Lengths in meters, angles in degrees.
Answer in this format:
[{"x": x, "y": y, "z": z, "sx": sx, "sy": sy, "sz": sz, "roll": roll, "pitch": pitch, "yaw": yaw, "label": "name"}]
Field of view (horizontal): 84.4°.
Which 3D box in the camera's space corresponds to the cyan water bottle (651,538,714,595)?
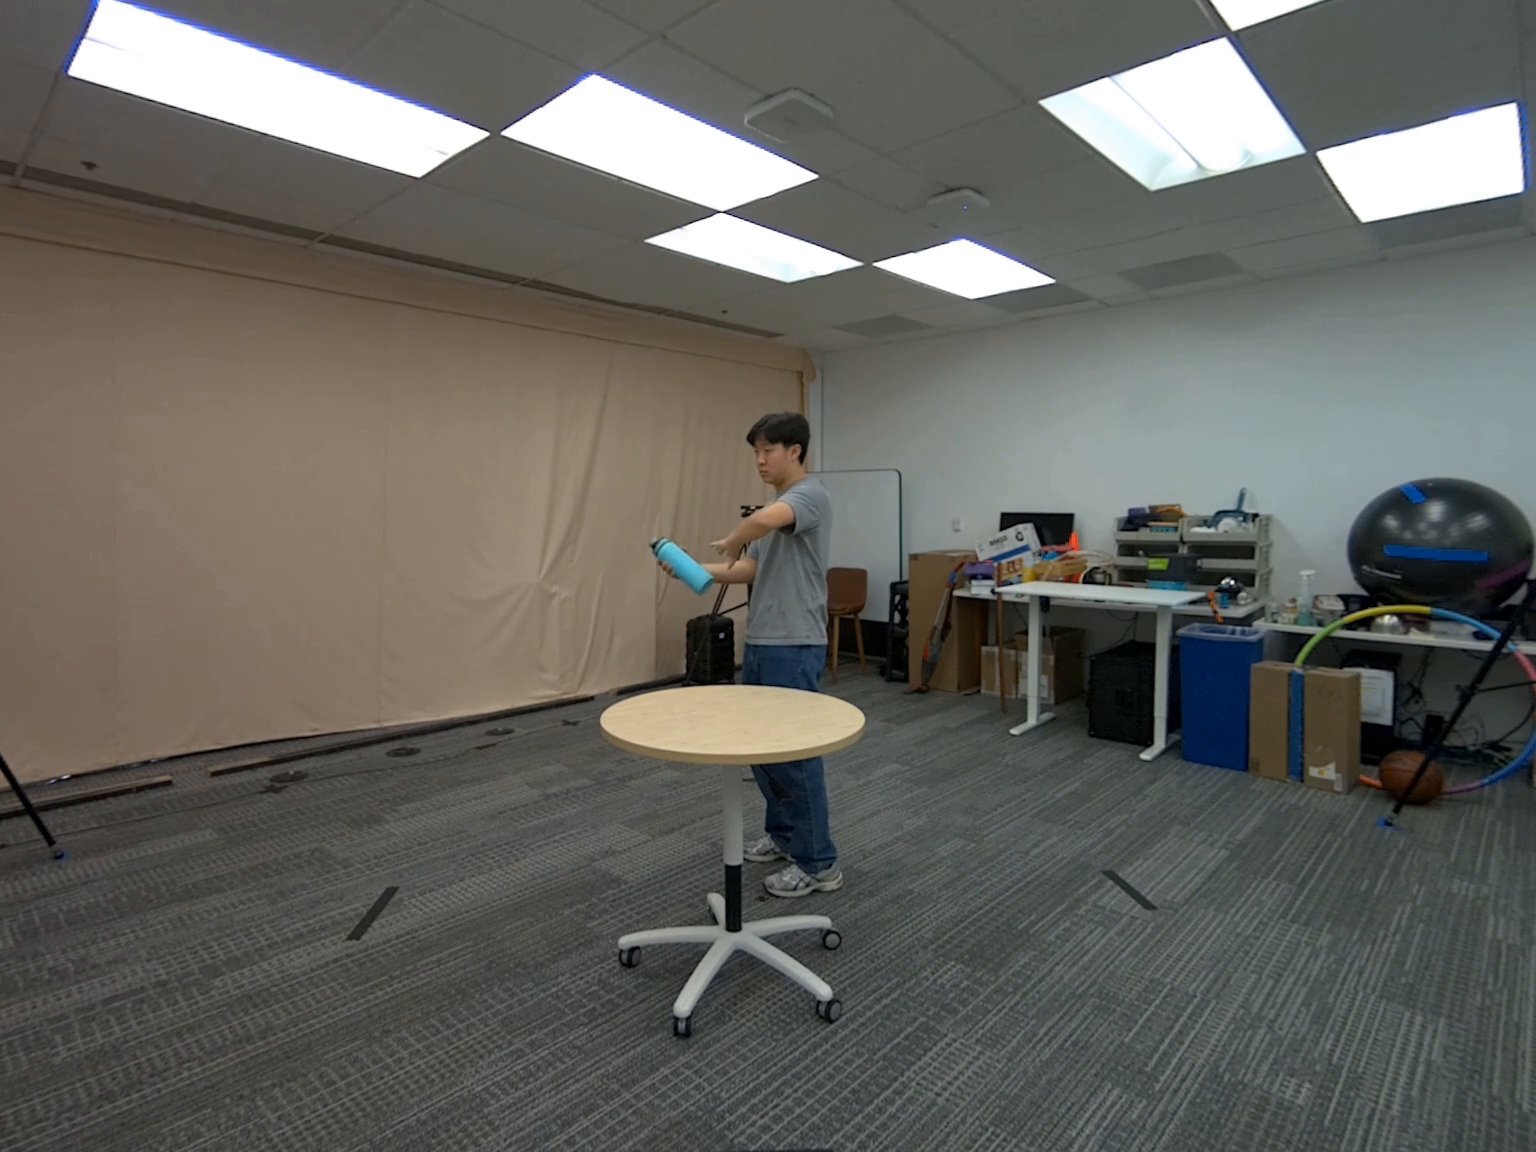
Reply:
[{"x": -0.327, "y": -0.049, "z": 3.247, "sx": 0.289, "sy": 0.092, "sz": 0.090, "roll": 40, "pitch": 17, "yaw": 17, "label": "cyan water bottle"}]
